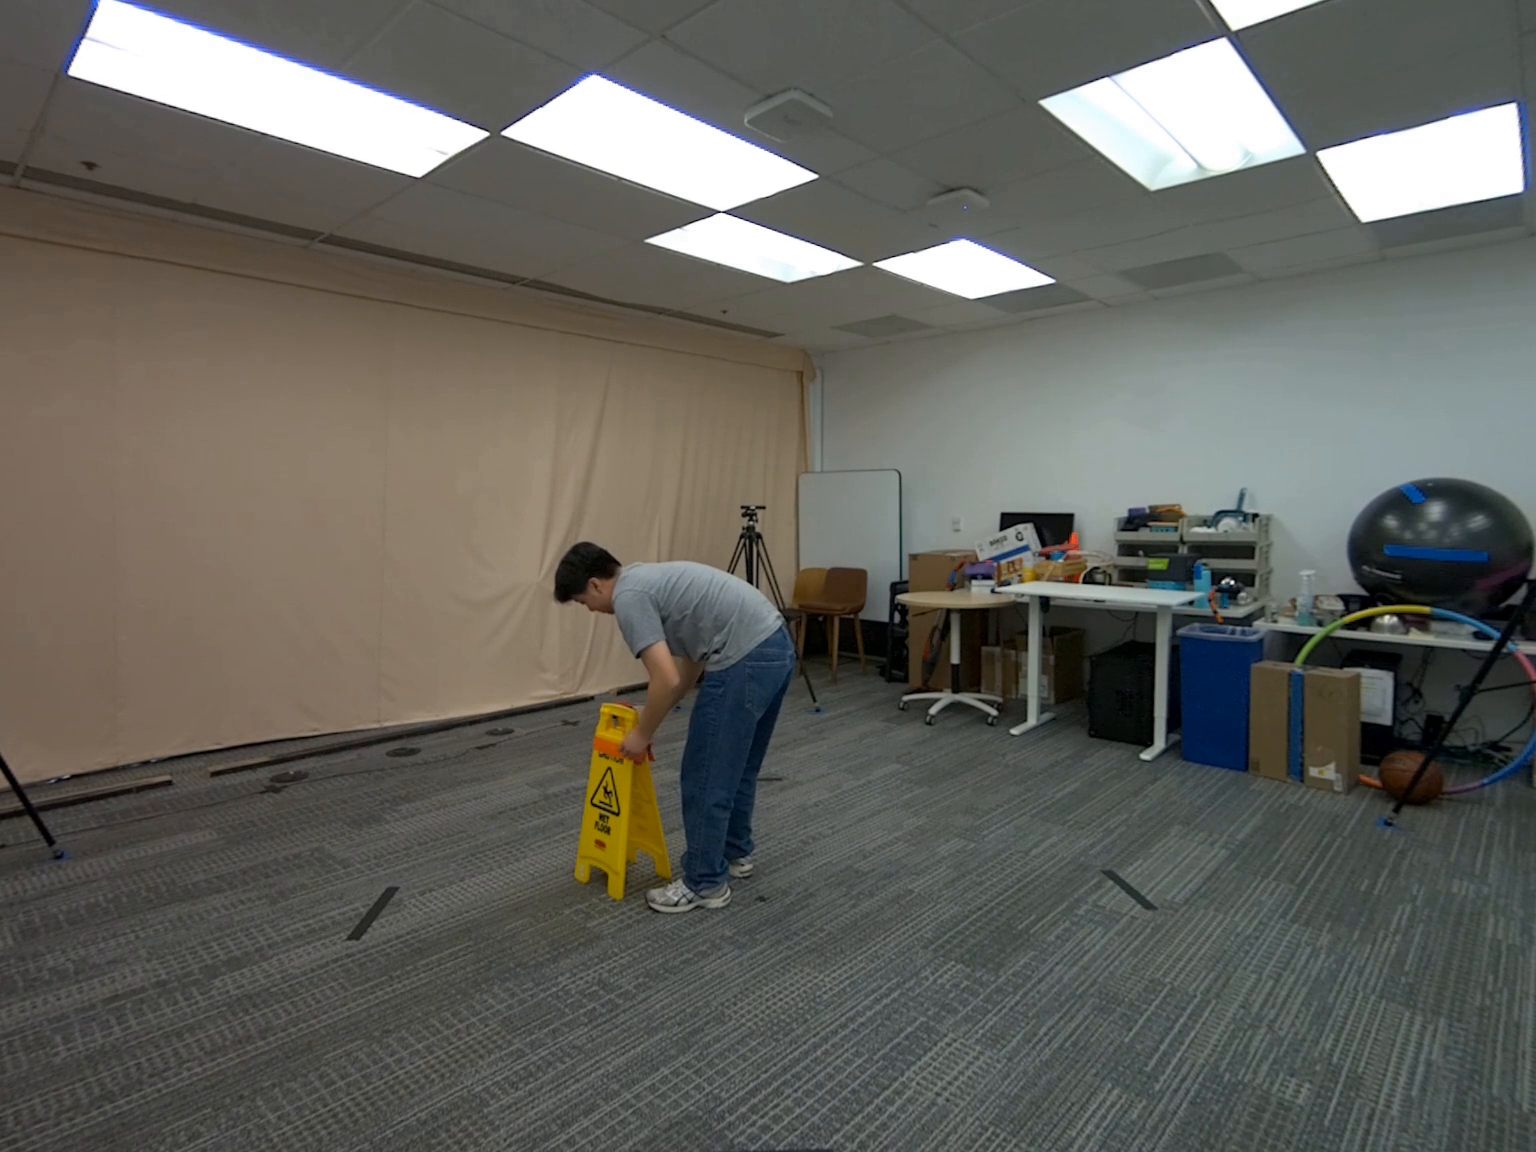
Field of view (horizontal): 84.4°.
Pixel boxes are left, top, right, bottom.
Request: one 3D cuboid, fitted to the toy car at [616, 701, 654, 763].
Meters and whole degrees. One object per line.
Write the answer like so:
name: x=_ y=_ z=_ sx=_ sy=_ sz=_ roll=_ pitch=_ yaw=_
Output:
toy car: x=-0.505 y=0.613 z=3.163 sx=0.133 sy=0.250 sz=0.082 roll=-17 pitch=21 yaw=44
